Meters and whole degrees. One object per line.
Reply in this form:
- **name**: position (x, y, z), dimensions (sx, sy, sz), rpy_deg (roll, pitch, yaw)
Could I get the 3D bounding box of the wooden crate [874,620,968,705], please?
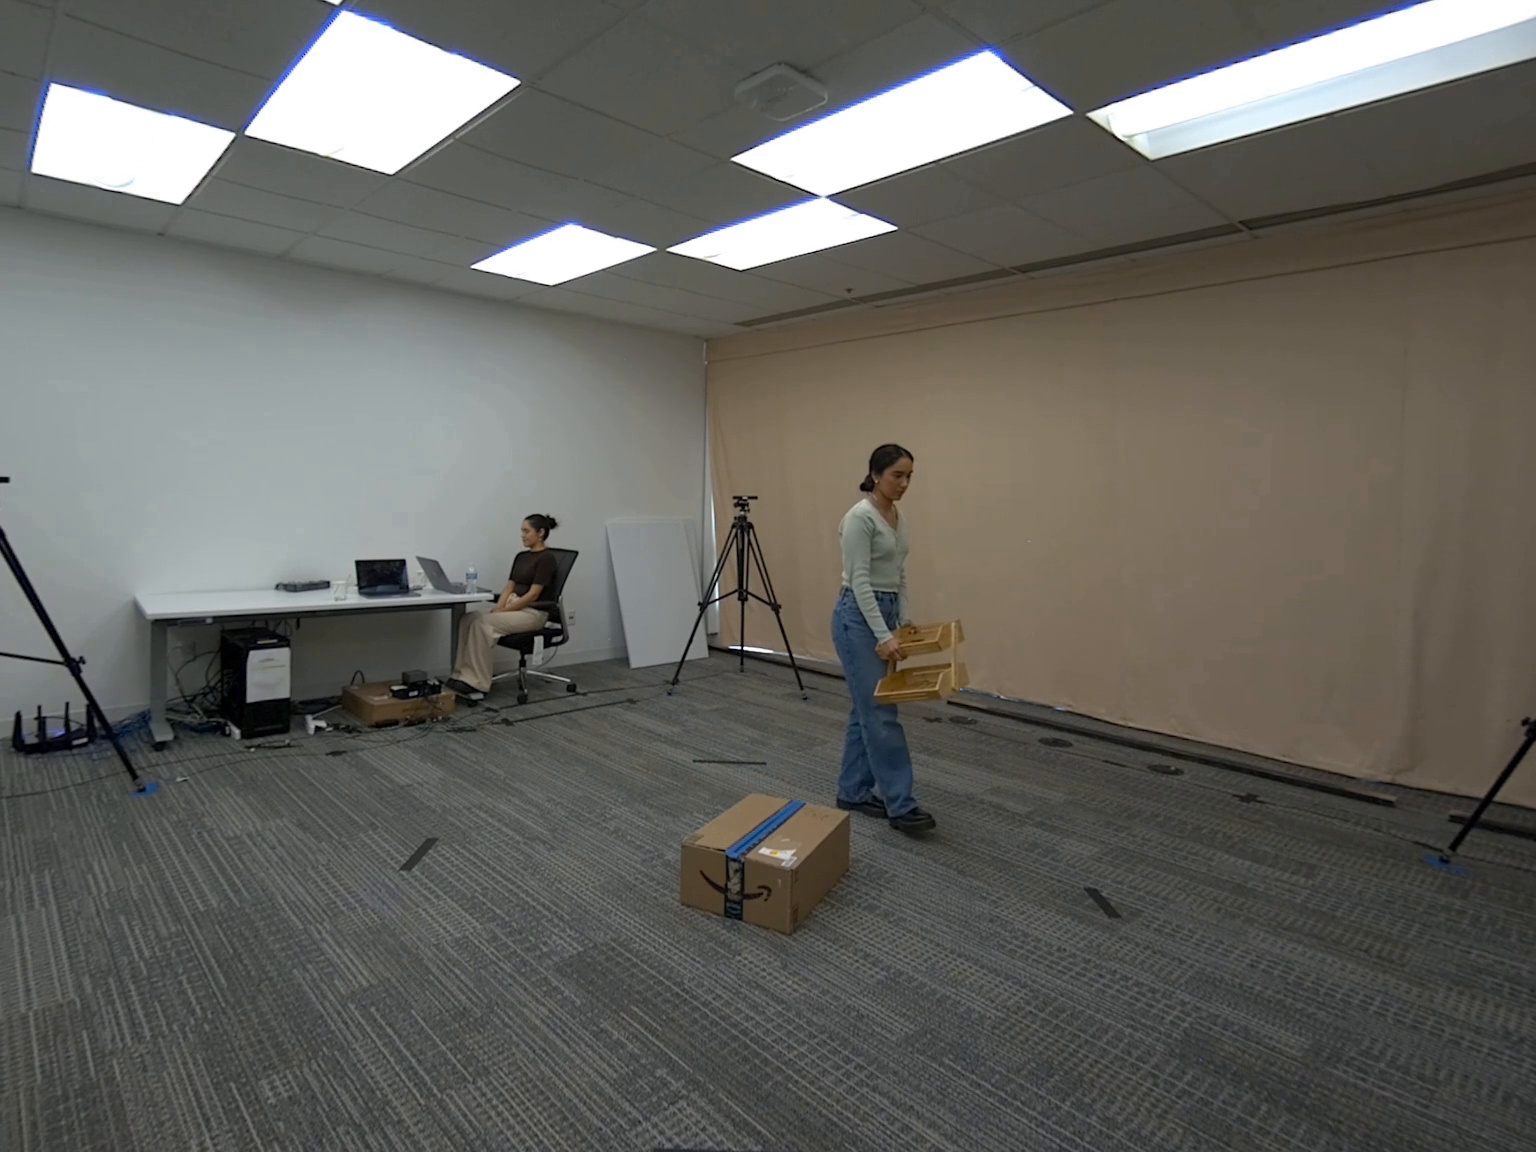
- **wooden crate**: position (0.610, 0.350, 3.464), dimensions (0.330, 0.274, 0.296), rpy_deg (-15, 0, 41)
